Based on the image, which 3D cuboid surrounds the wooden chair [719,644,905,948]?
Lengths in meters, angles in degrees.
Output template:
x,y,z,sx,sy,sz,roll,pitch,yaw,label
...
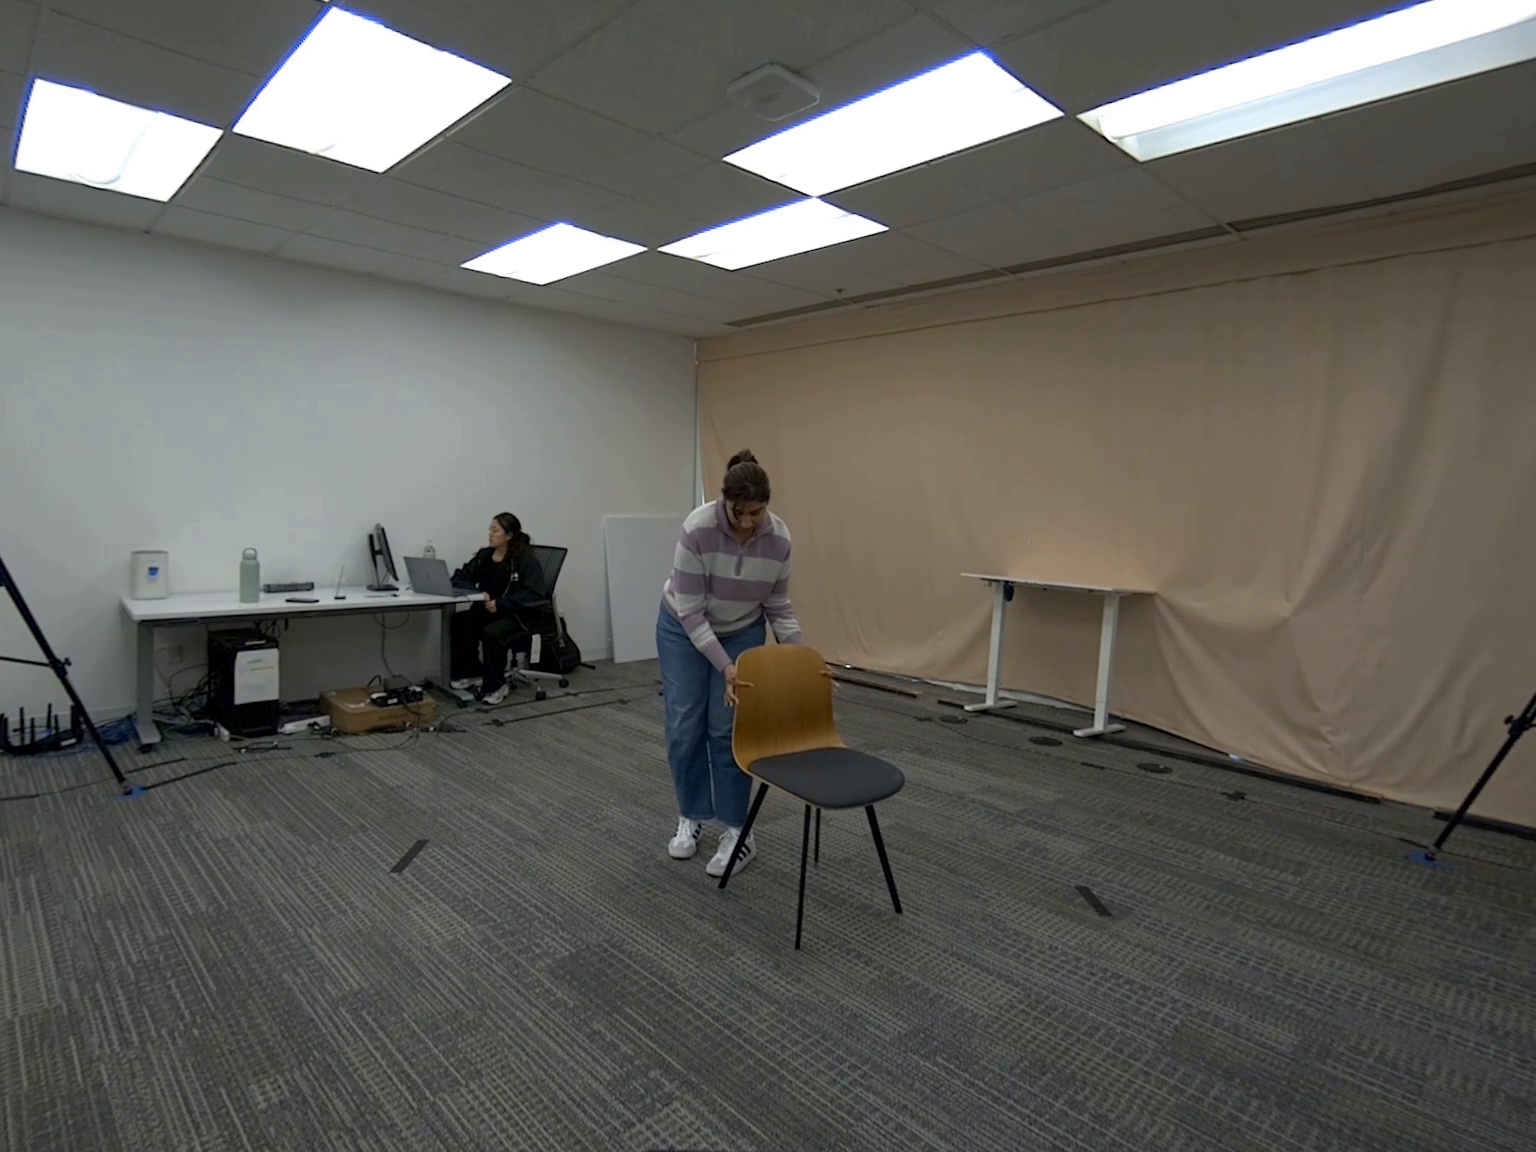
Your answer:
x,y,z,sx,sy,sz,roll,pitch,yaw,label
0.160,0.700,2.860,0.467,0.877,0.535,0,1,-35,wooden chair
